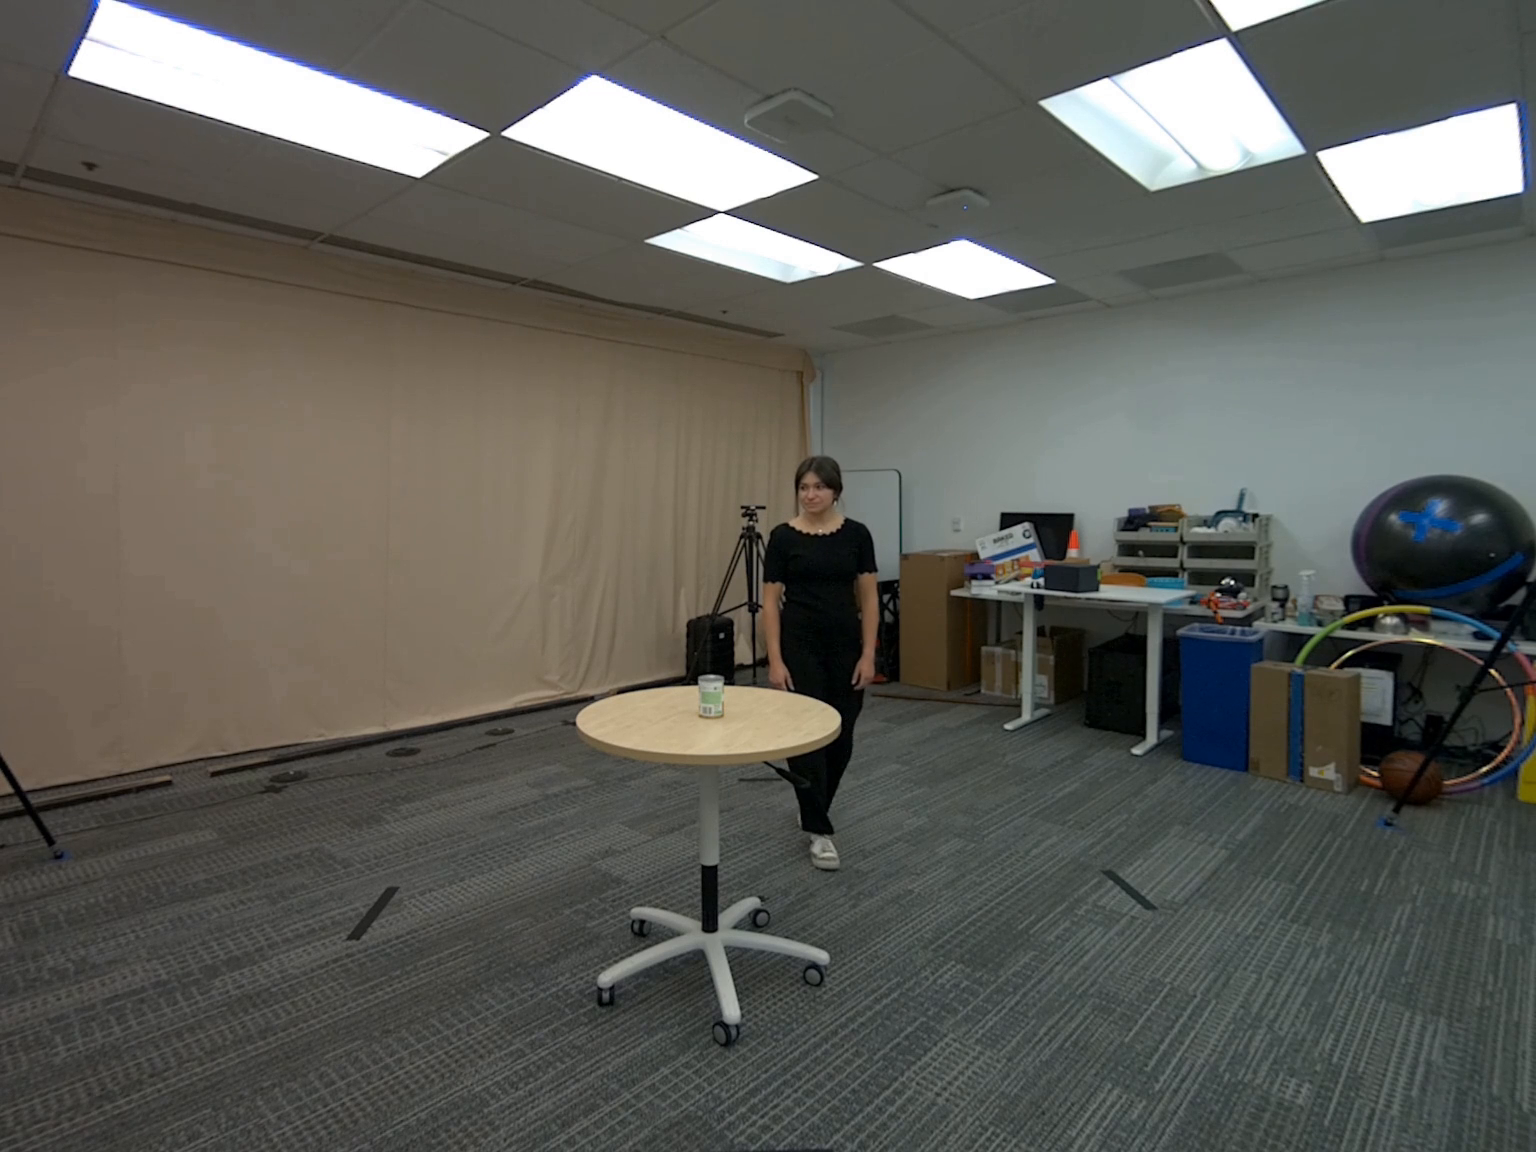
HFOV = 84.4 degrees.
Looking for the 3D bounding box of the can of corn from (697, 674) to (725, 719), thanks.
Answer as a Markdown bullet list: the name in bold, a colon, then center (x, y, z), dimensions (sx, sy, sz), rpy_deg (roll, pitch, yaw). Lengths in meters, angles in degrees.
- **can of corn**: center (-0.161, 0.353, 2.432), dimensions (0.074, 0.111, 0.074), rpy_deg (-2, 5, -2)
